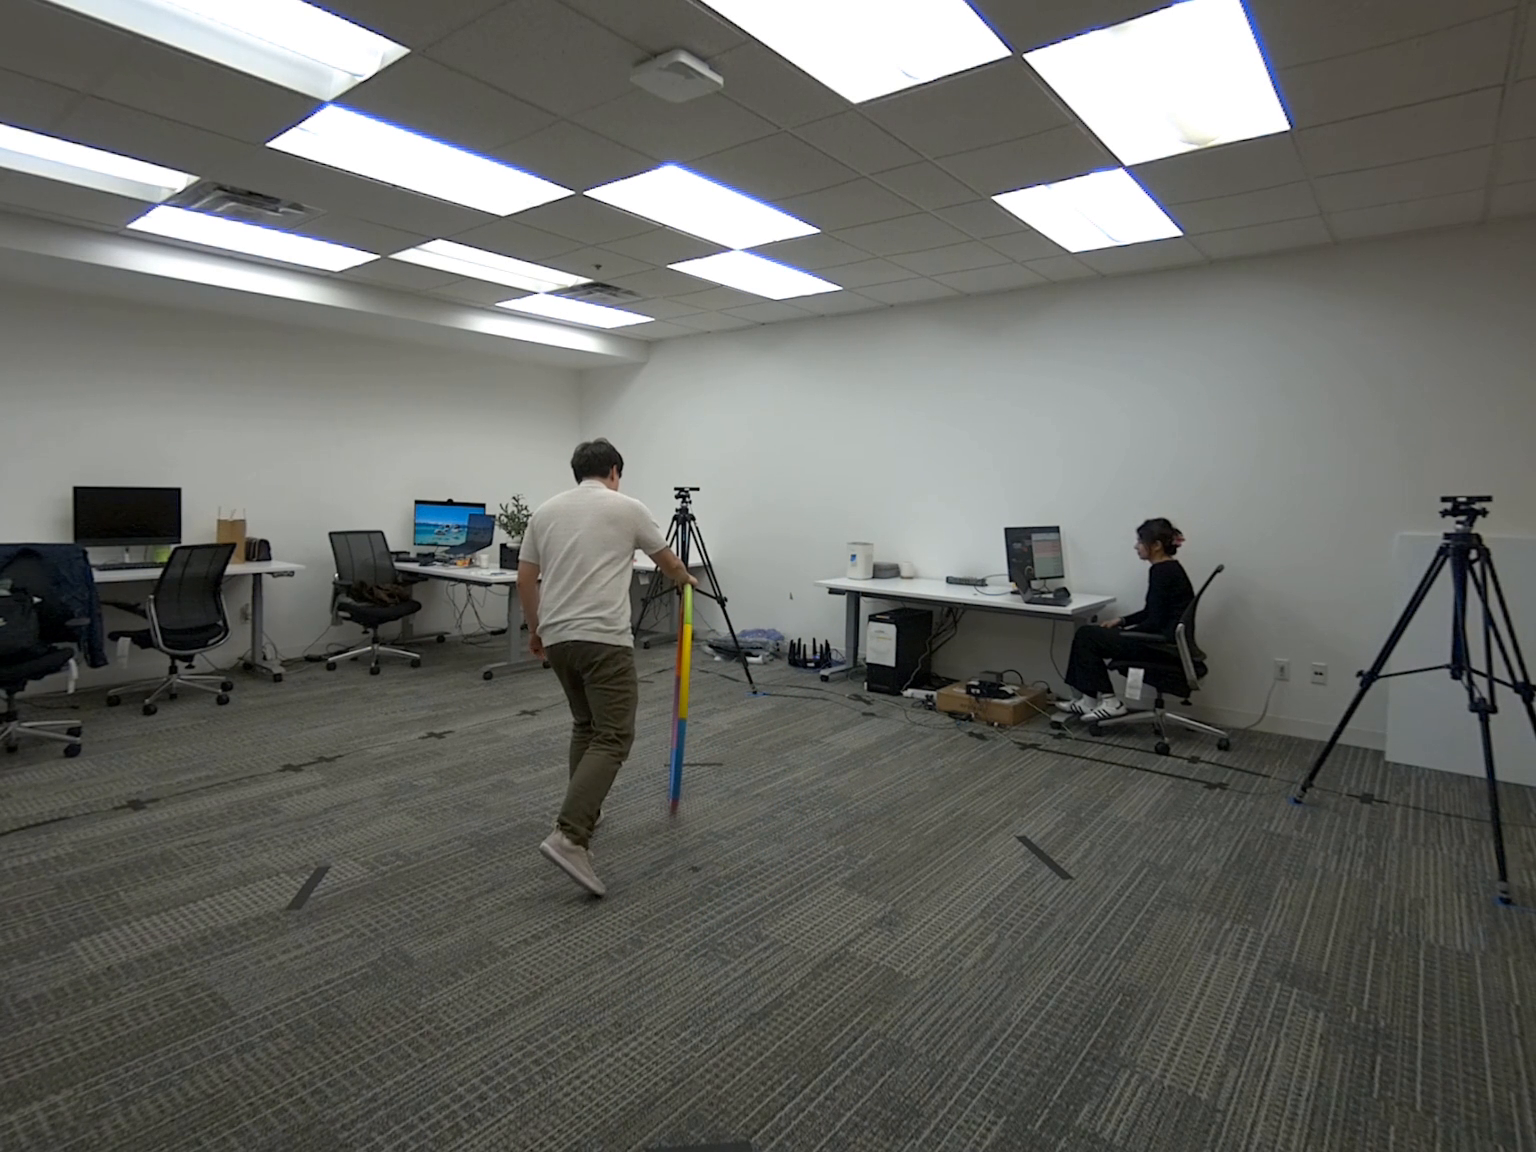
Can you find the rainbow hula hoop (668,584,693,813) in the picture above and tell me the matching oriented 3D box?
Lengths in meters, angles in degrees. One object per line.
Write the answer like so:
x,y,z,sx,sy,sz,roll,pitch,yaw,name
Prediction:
-0.402,0.521,3.724,0.035,0.976,0.988,4,4,-7,rainbow hula hoop
